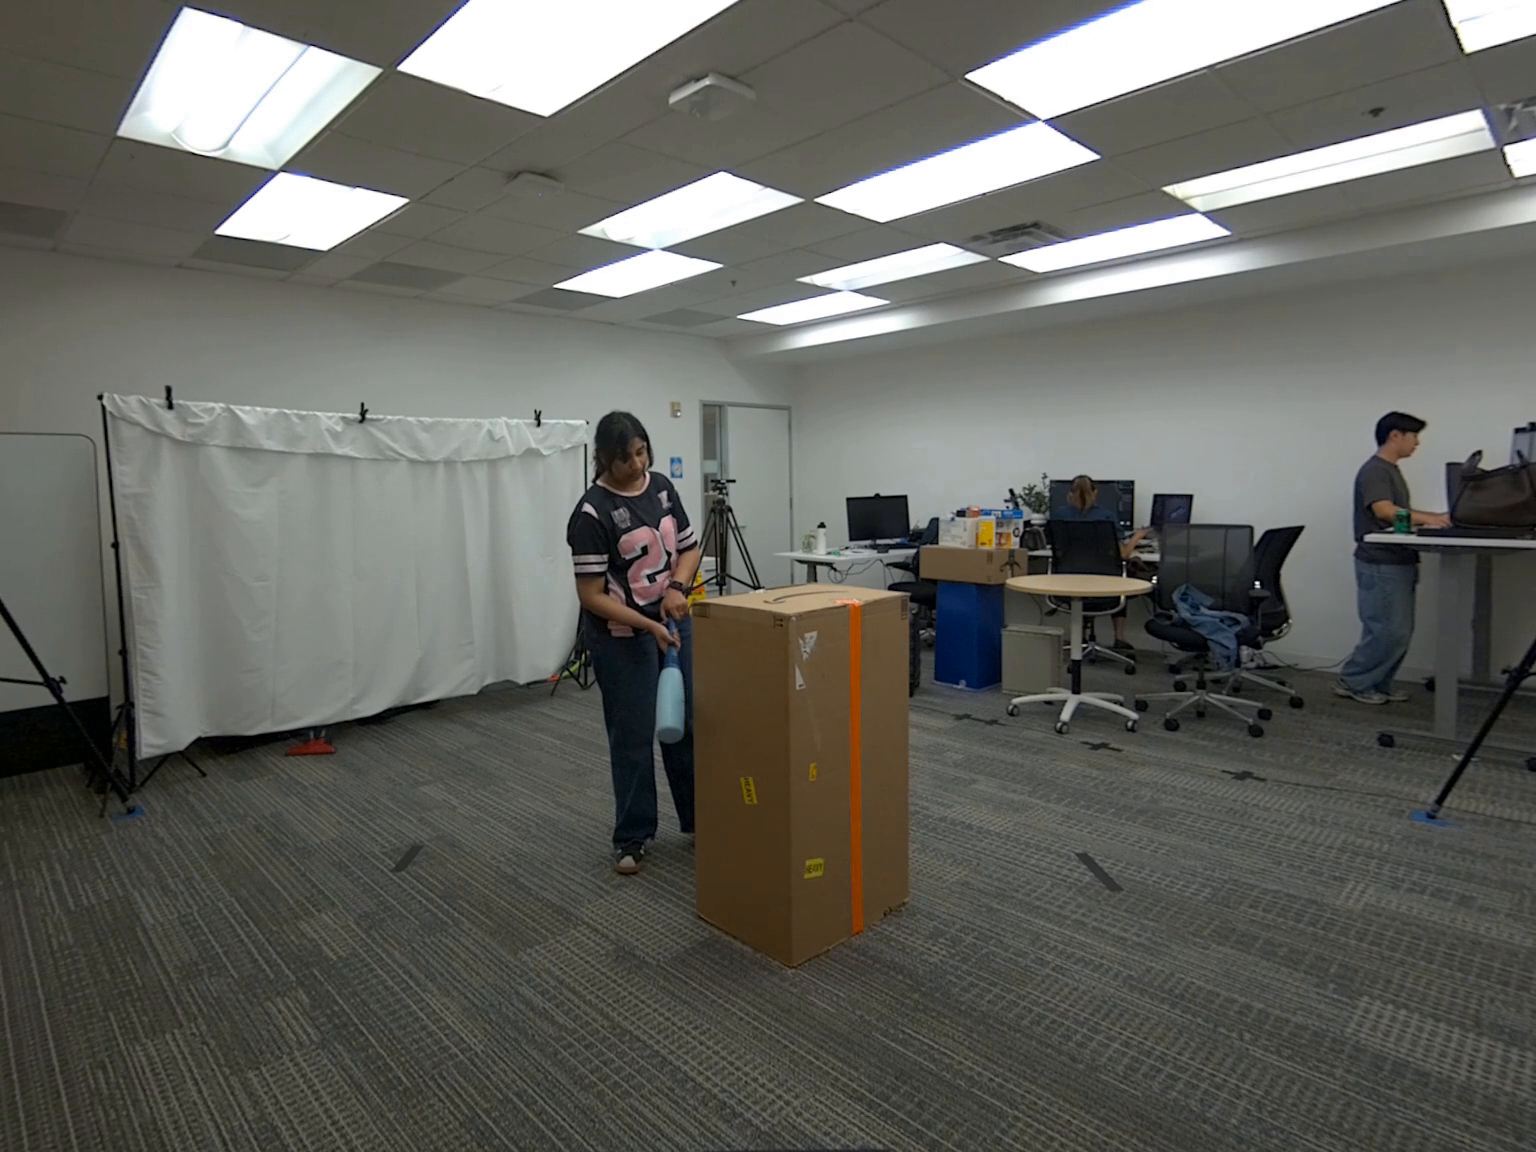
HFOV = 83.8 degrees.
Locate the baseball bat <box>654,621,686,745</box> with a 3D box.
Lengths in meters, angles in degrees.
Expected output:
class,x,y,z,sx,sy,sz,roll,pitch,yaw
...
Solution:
class,x,y,z,sx,sy,sz,roll,pitch,yaw
baseball bat,-0.323,0.313,2.801,0.089,0.087,0.558,-2,40,-2
